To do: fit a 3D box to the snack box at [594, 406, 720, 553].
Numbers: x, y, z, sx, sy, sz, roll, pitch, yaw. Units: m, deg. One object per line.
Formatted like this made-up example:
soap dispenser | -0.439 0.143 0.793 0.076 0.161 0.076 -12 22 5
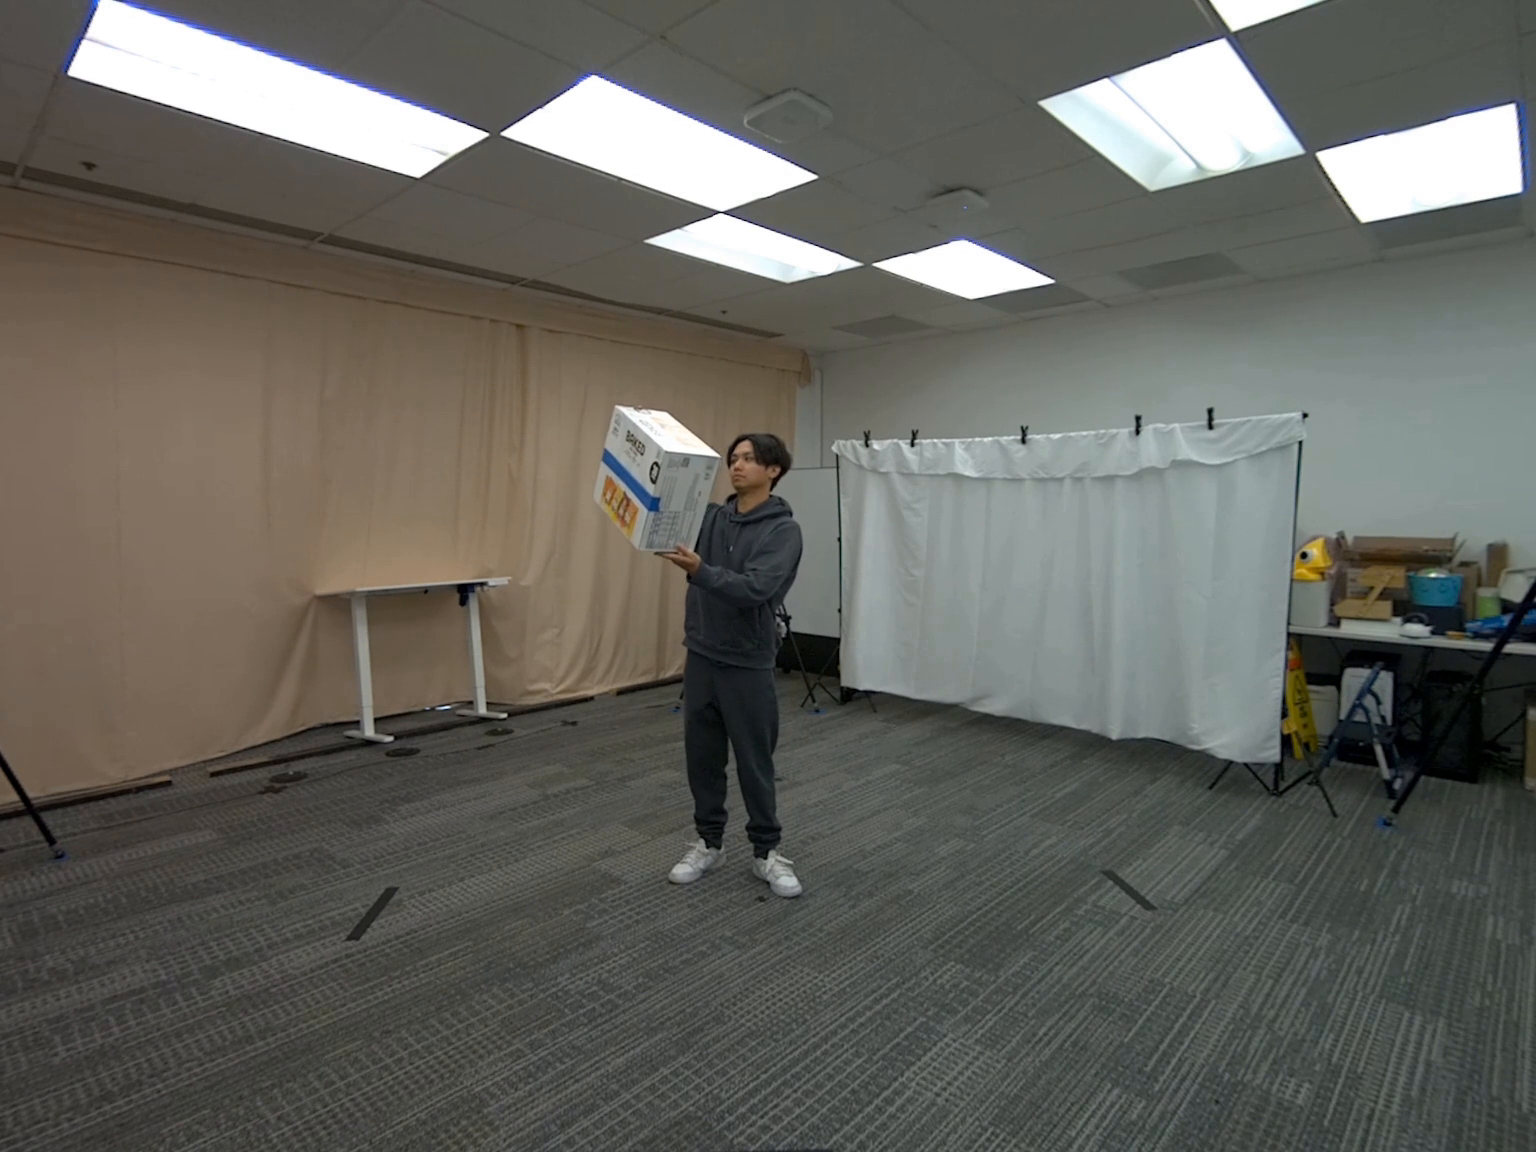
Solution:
snack box | -0.371 -0.319 2.759 0.199 0.338 0.420 1 28 -35
